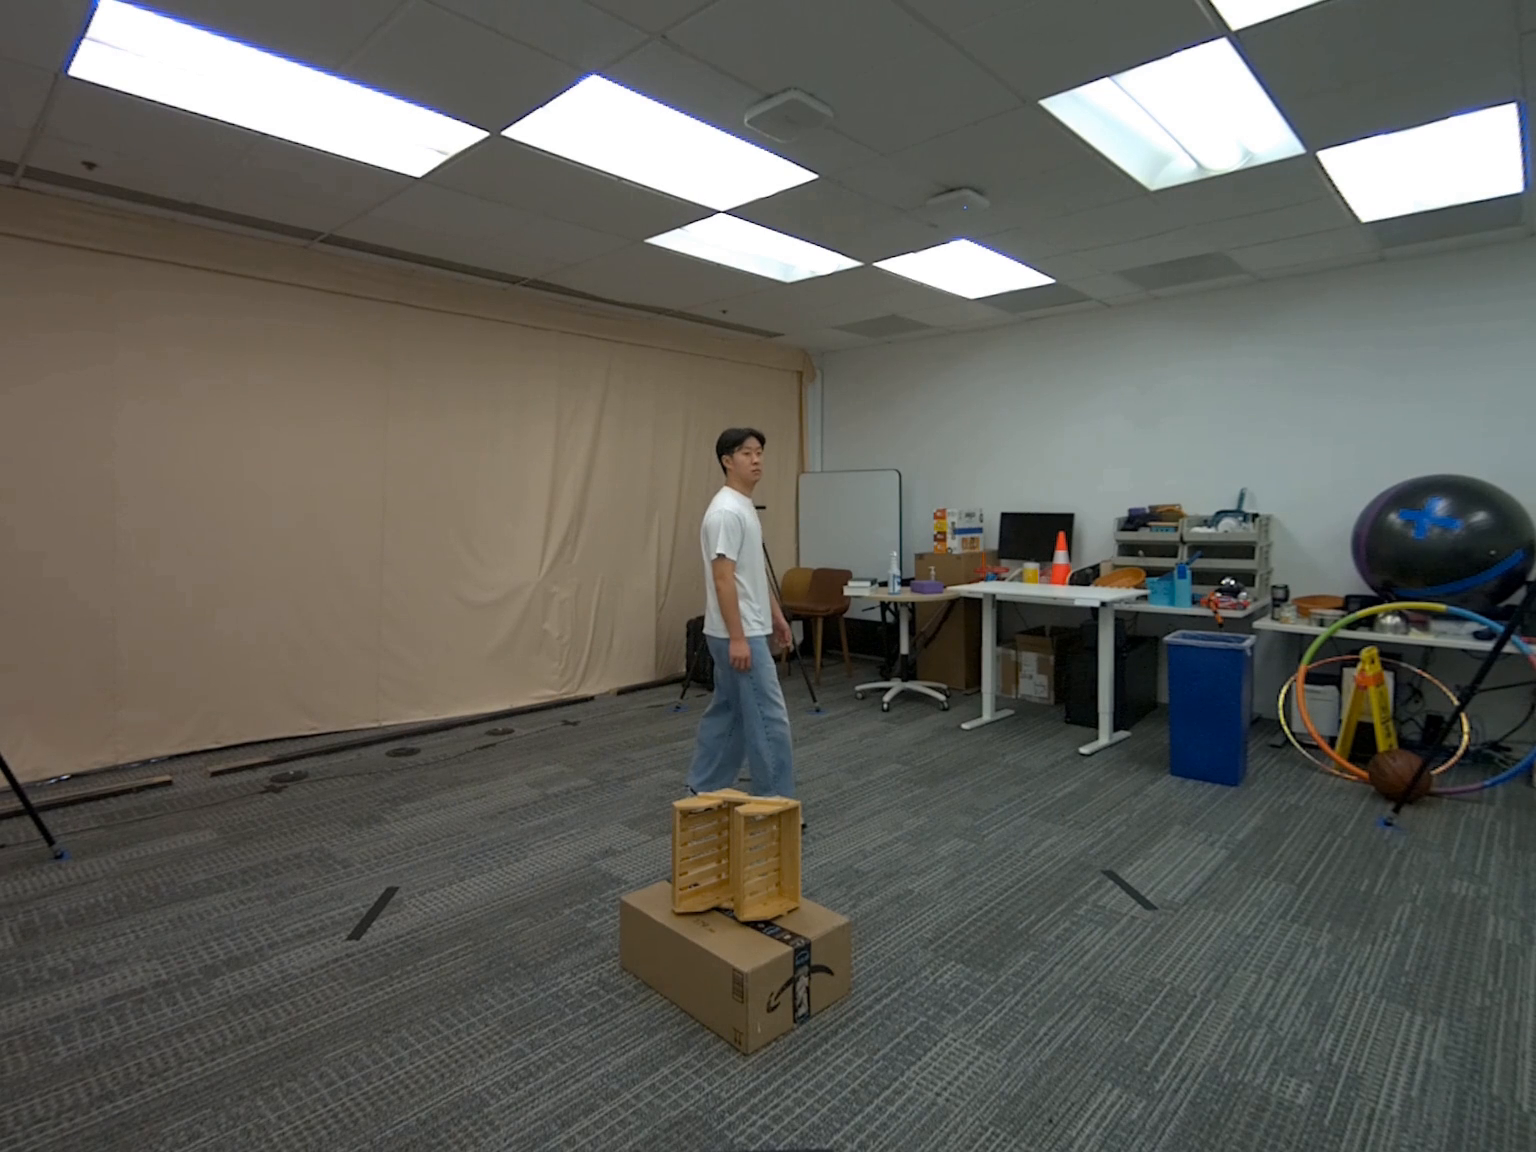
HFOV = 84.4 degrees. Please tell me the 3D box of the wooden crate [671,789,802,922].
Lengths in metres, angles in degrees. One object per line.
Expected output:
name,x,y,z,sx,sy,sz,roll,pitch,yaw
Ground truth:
wooden crate,-0.096,0.809,2.465,0.282,0.324,0.292,0,0,45
